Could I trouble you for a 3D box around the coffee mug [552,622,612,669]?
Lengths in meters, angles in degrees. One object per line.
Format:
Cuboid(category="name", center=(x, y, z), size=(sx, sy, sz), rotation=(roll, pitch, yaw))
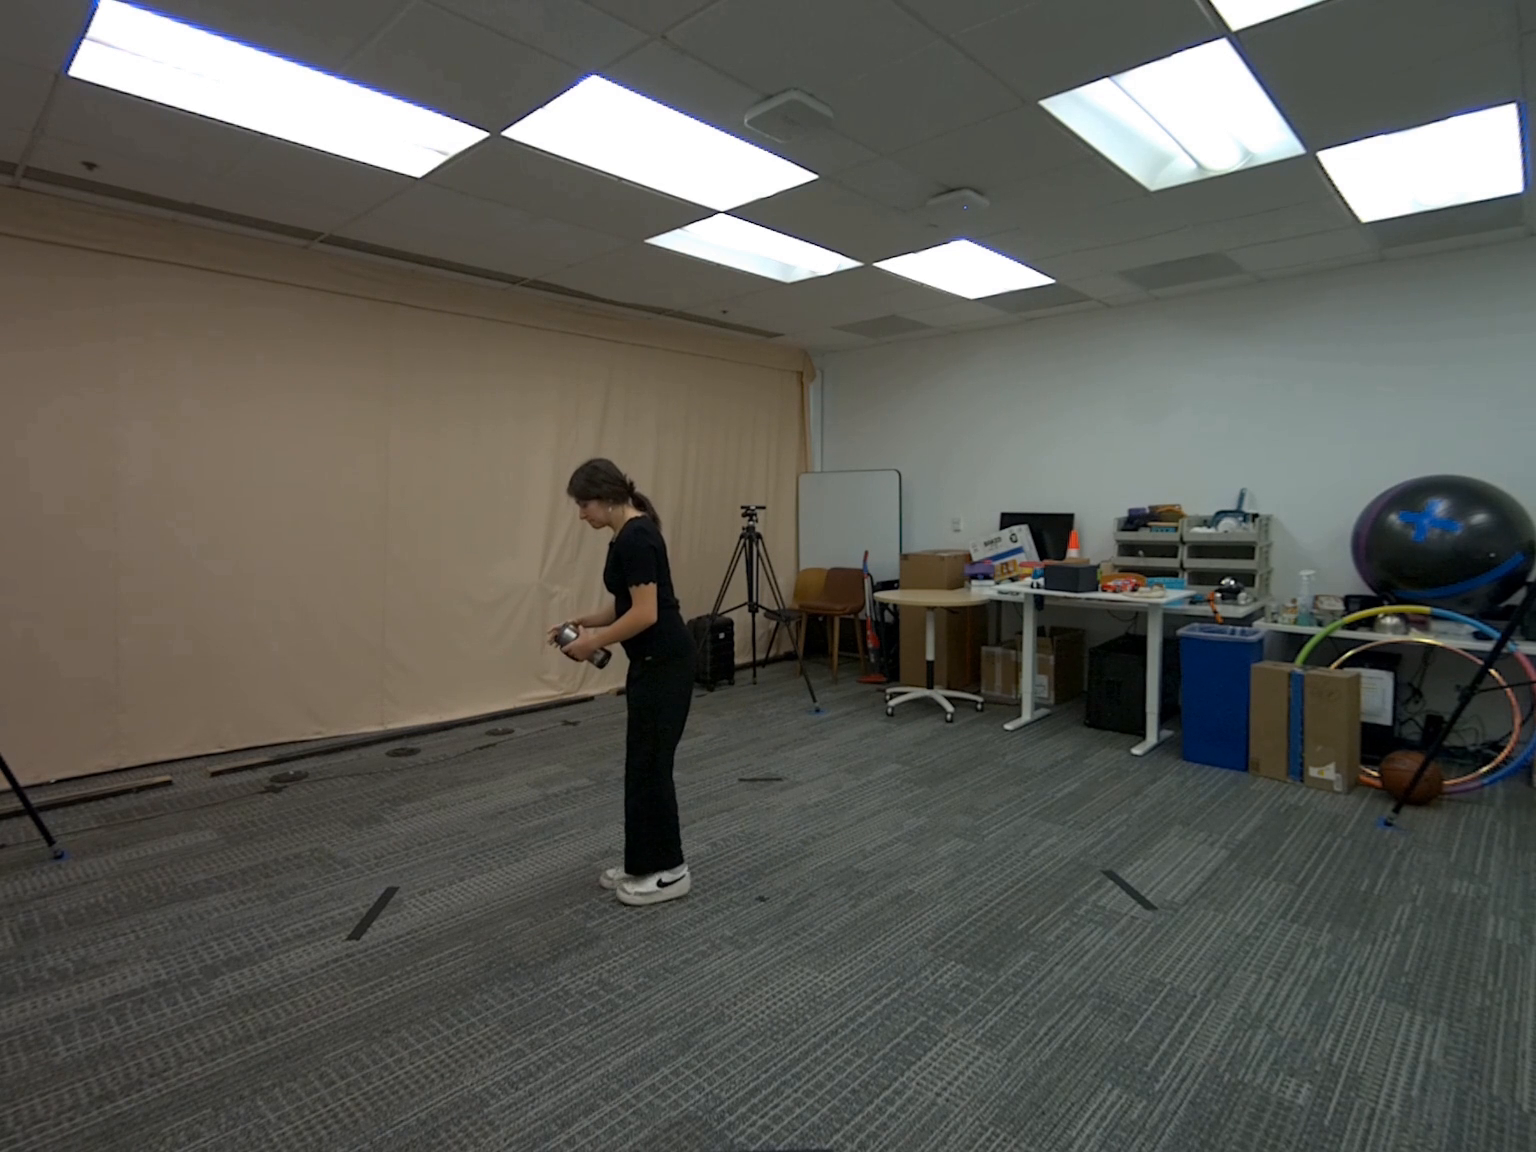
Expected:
Cuboid(category="coffee mug", center=(-0.651, 0.263, 3.014), size=(0.203, 0.121, 0.088), rotation=(26, 45, 2))
